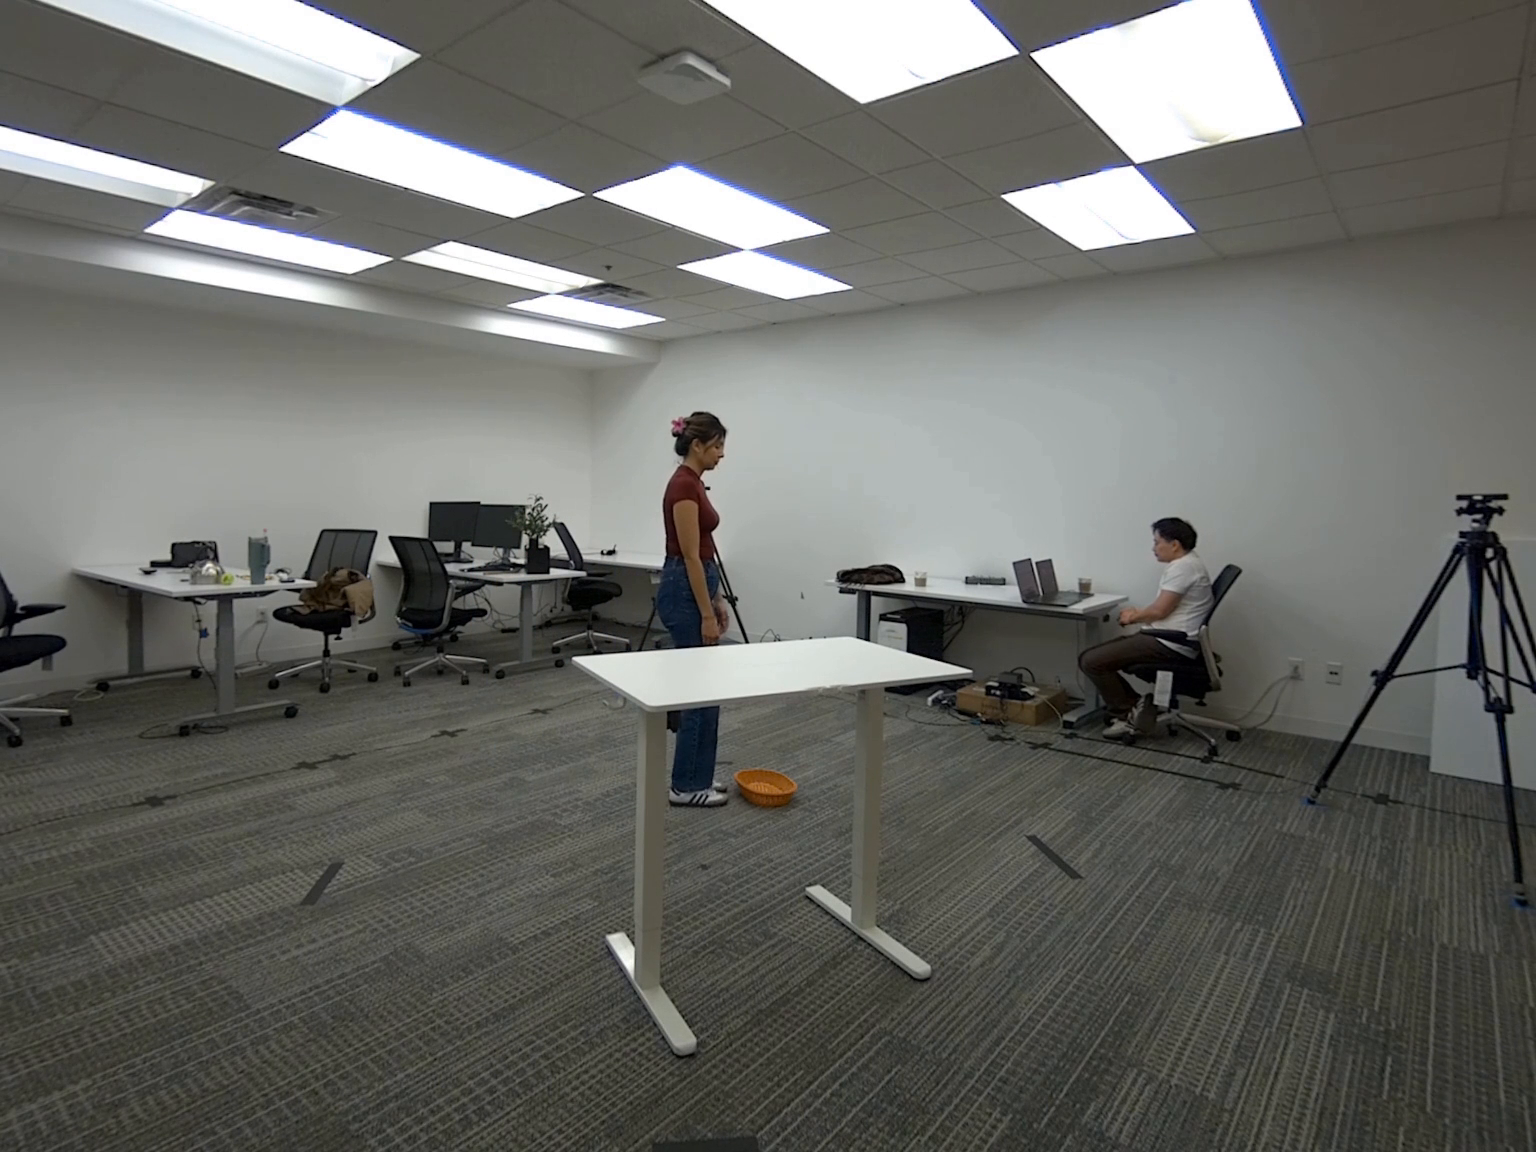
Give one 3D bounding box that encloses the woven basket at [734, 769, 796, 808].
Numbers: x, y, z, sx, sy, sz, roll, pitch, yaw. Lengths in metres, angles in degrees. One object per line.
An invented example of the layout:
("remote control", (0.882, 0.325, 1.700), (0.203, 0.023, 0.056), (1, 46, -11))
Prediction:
("woven basket", (-0.025, 0.957, 3.851), (0.247, 0.073, 0.359), (-1, 6, -23))
